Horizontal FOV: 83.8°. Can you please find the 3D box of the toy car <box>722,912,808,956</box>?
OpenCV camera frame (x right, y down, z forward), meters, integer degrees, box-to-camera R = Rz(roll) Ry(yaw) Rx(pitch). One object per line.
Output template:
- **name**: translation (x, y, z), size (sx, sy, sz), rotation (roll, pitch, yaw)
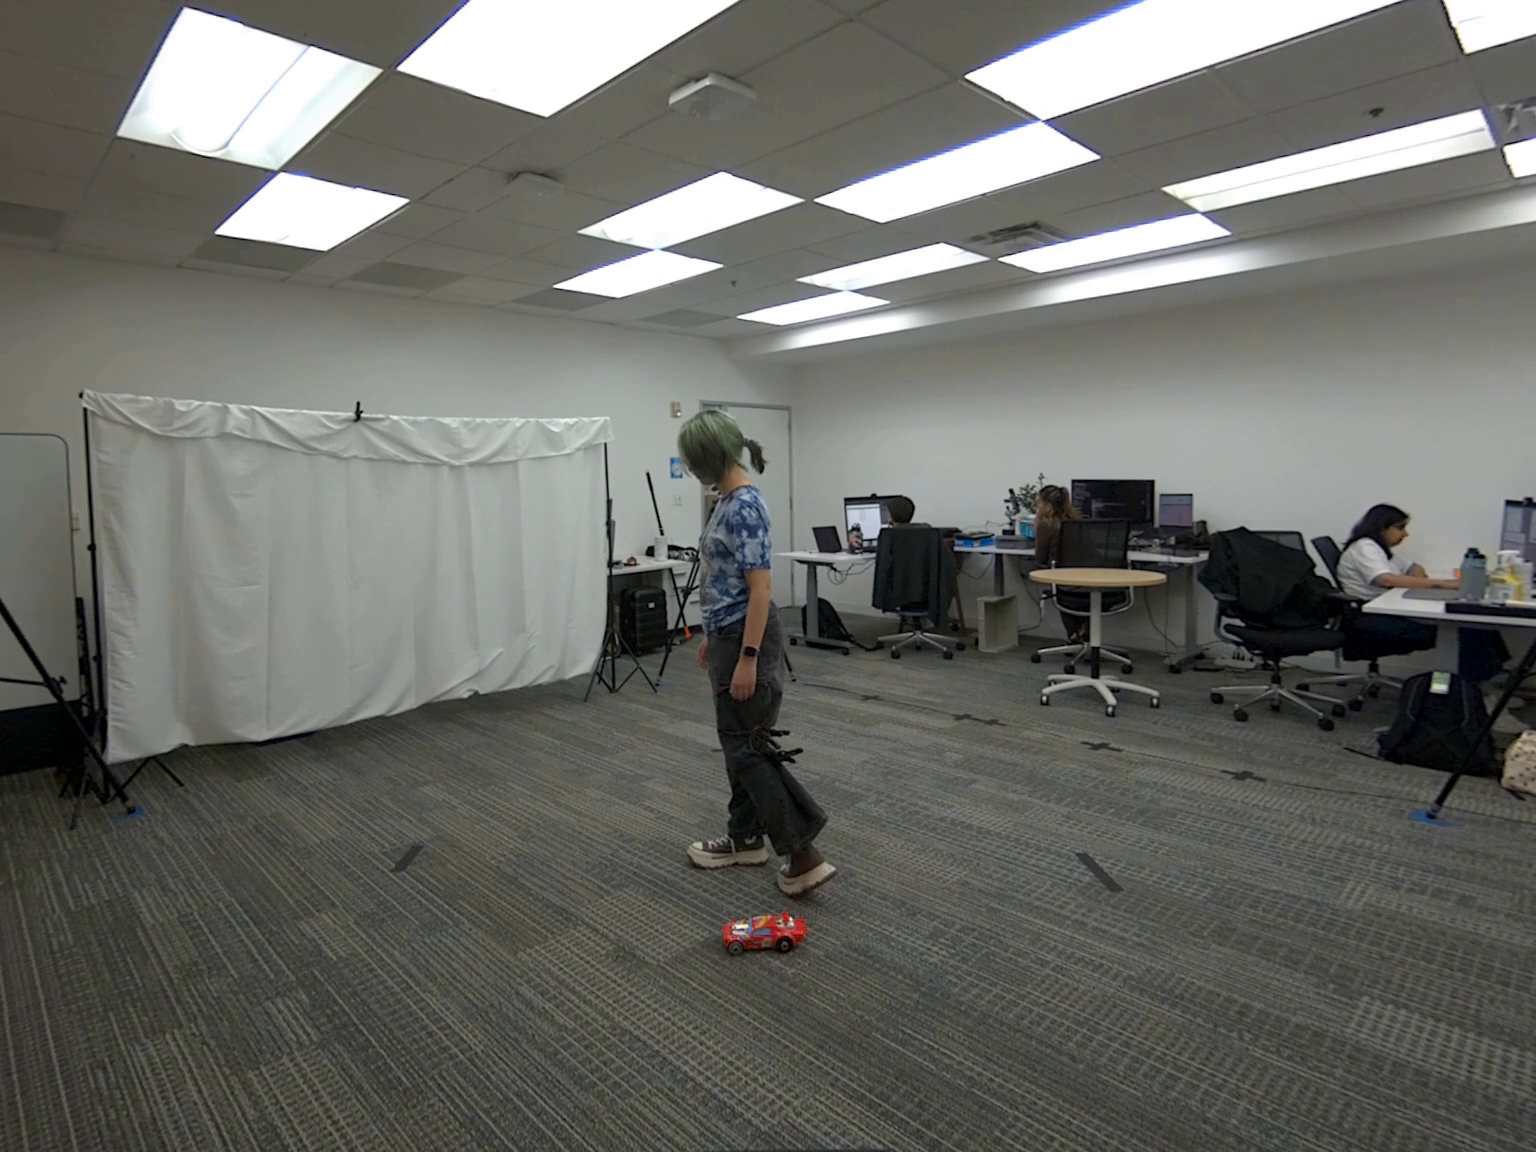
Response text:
- **toy car**: translation (-0.005, 1.083, 2.569), size (0.254, 0.083, 0.131), rotation (-13, 6, -2)
